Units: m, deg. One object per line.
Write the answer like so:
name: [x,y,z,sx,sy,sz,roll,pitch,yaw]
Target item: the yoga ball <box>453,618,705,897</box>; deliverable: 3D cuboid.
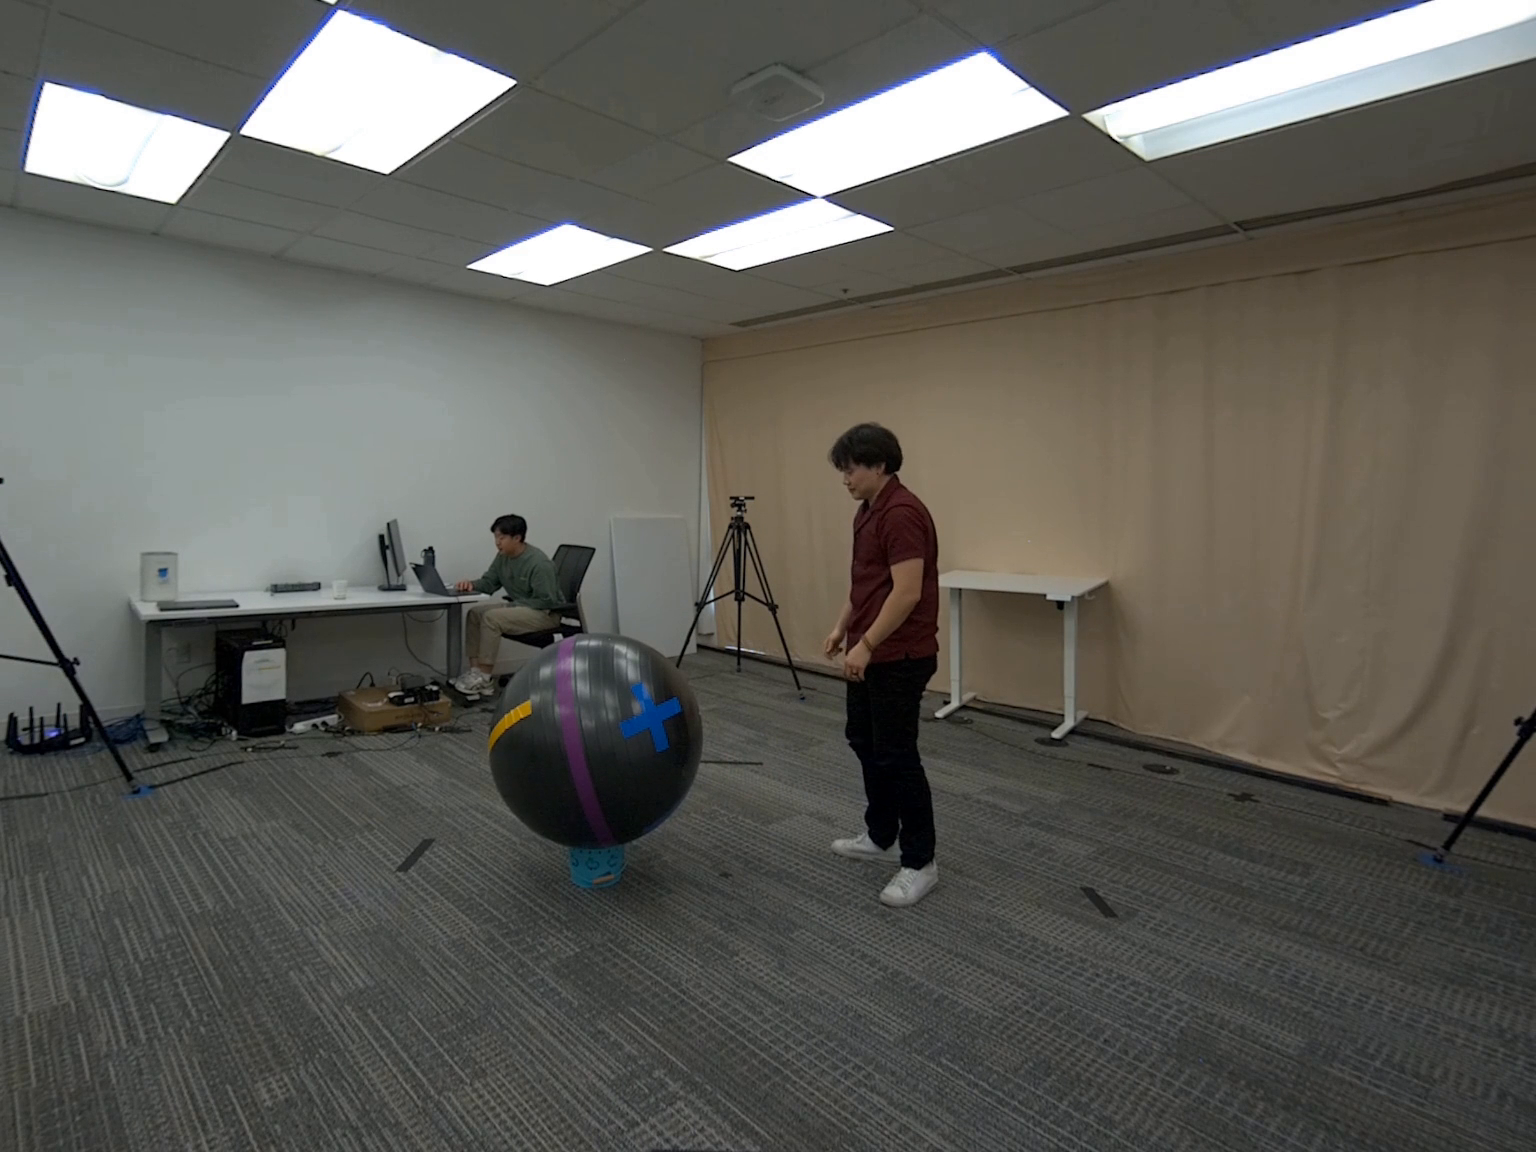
yoga ball: [-0.627,0.591,3.039,0.757,0.756,0.761,1,4,-1]
